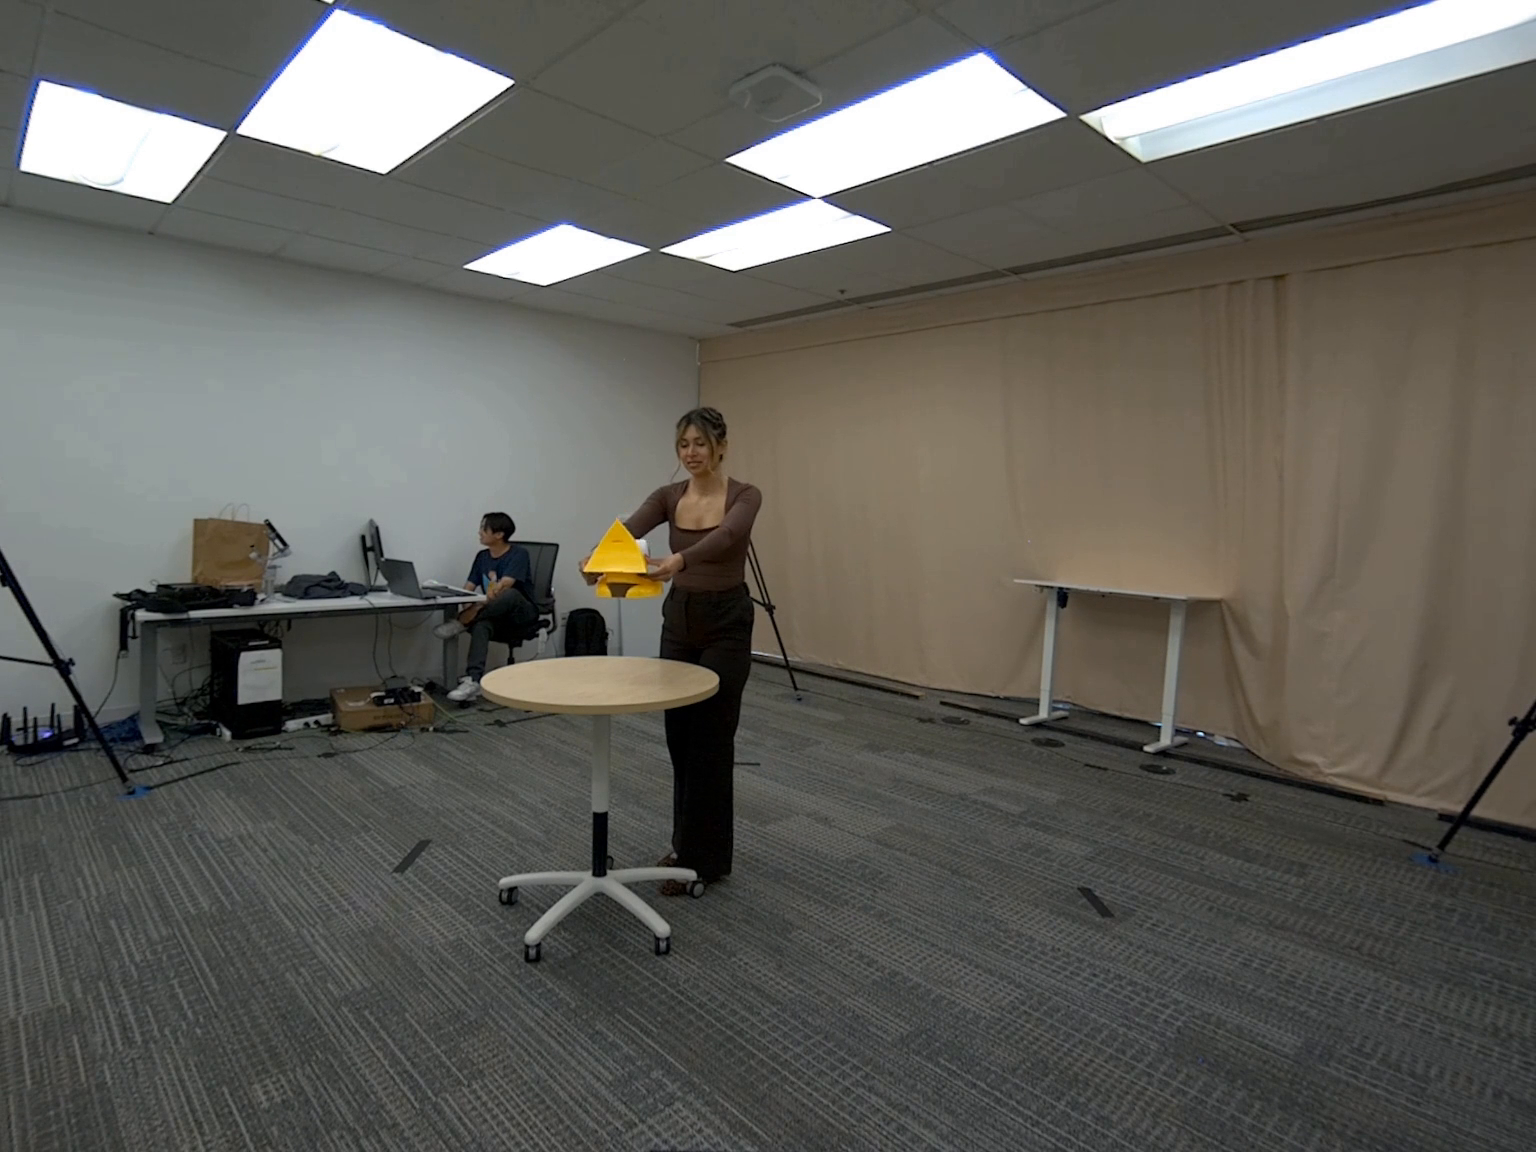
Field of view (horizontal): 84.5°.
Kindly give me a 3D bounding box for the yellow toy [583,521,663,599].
[{"bbox_3d":[-0.429,-0.053,2.534,0.207,0.229,0.191,2,9,17],"label":"yellow toy"}]
